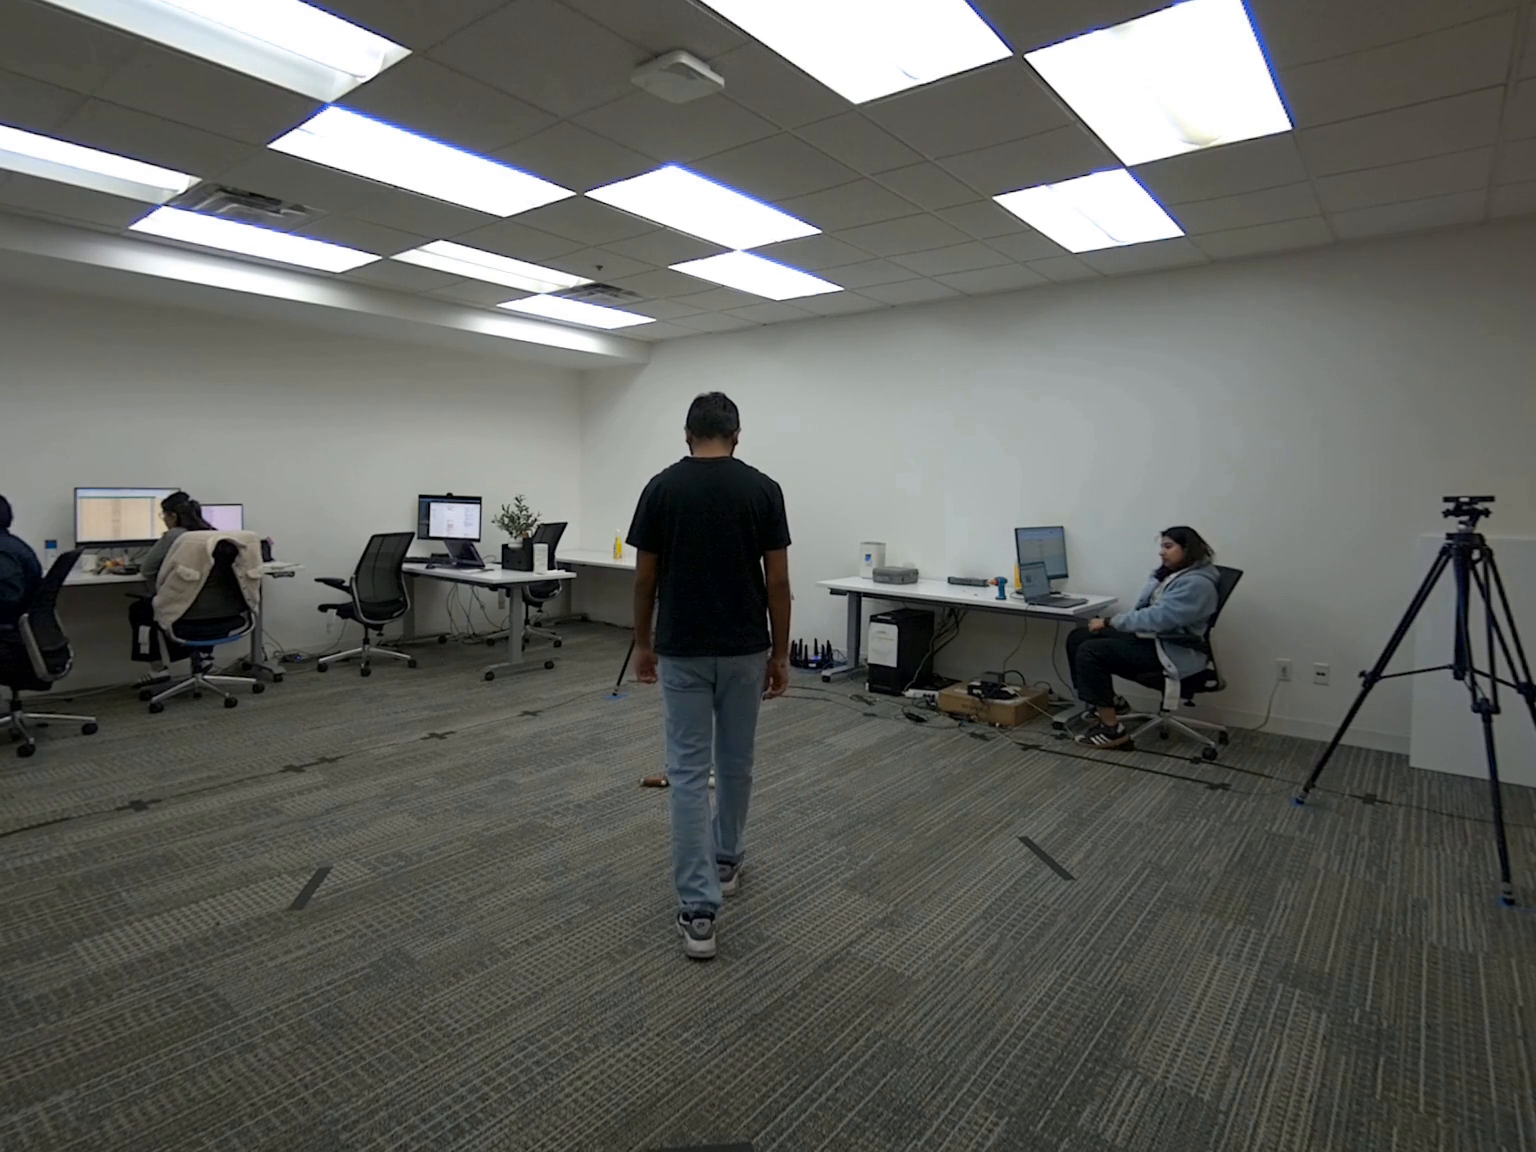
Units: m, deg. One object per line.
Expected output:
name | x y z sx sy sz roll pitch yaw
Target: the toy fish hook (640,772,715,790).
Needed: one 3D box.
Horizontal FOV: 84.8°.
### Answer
toy fish hook | -0.374 0.957 4.044 0.503 0.048 0.225 1 -2 -6
